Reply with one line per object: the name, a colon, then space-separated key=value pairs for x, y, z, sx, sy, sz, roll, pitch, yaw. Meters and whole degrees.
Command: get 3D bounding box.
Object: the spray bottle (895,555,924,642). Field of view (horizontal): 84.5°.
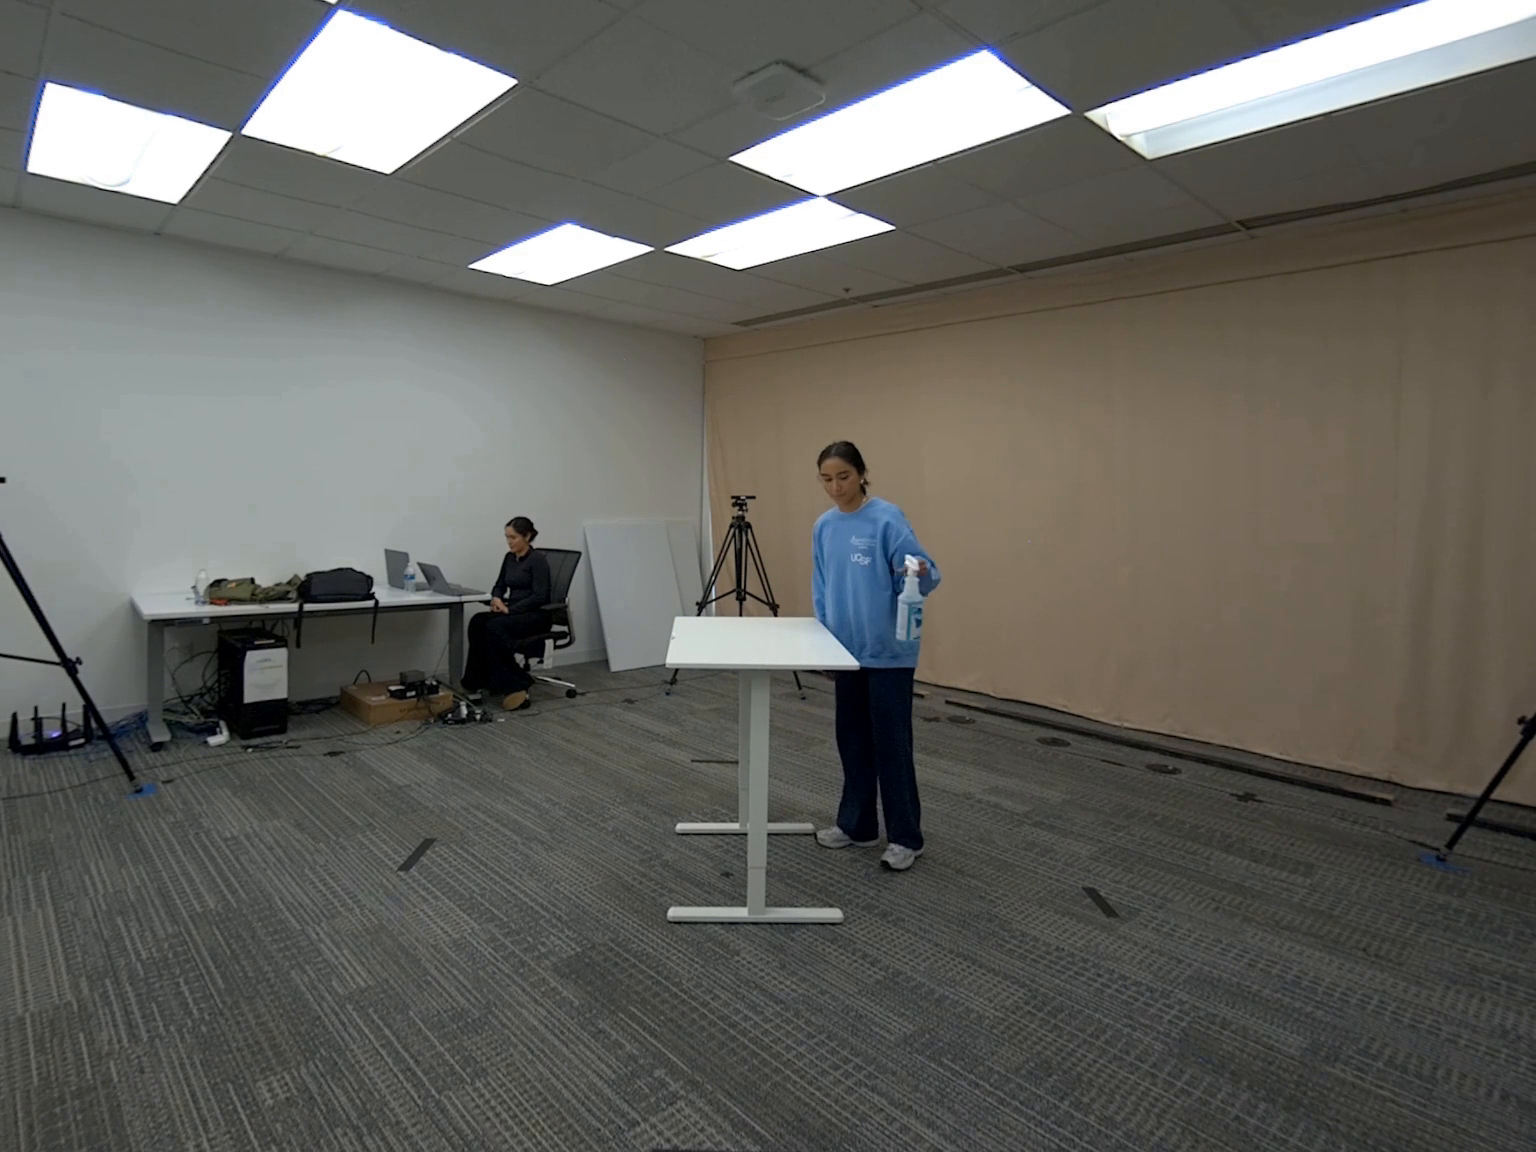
spray bottle: x=0.479 y=0.087 z=2.893 sx=0.088 sy=0.294 sz=0.090 roll=3 pitch=13 yaw=11
